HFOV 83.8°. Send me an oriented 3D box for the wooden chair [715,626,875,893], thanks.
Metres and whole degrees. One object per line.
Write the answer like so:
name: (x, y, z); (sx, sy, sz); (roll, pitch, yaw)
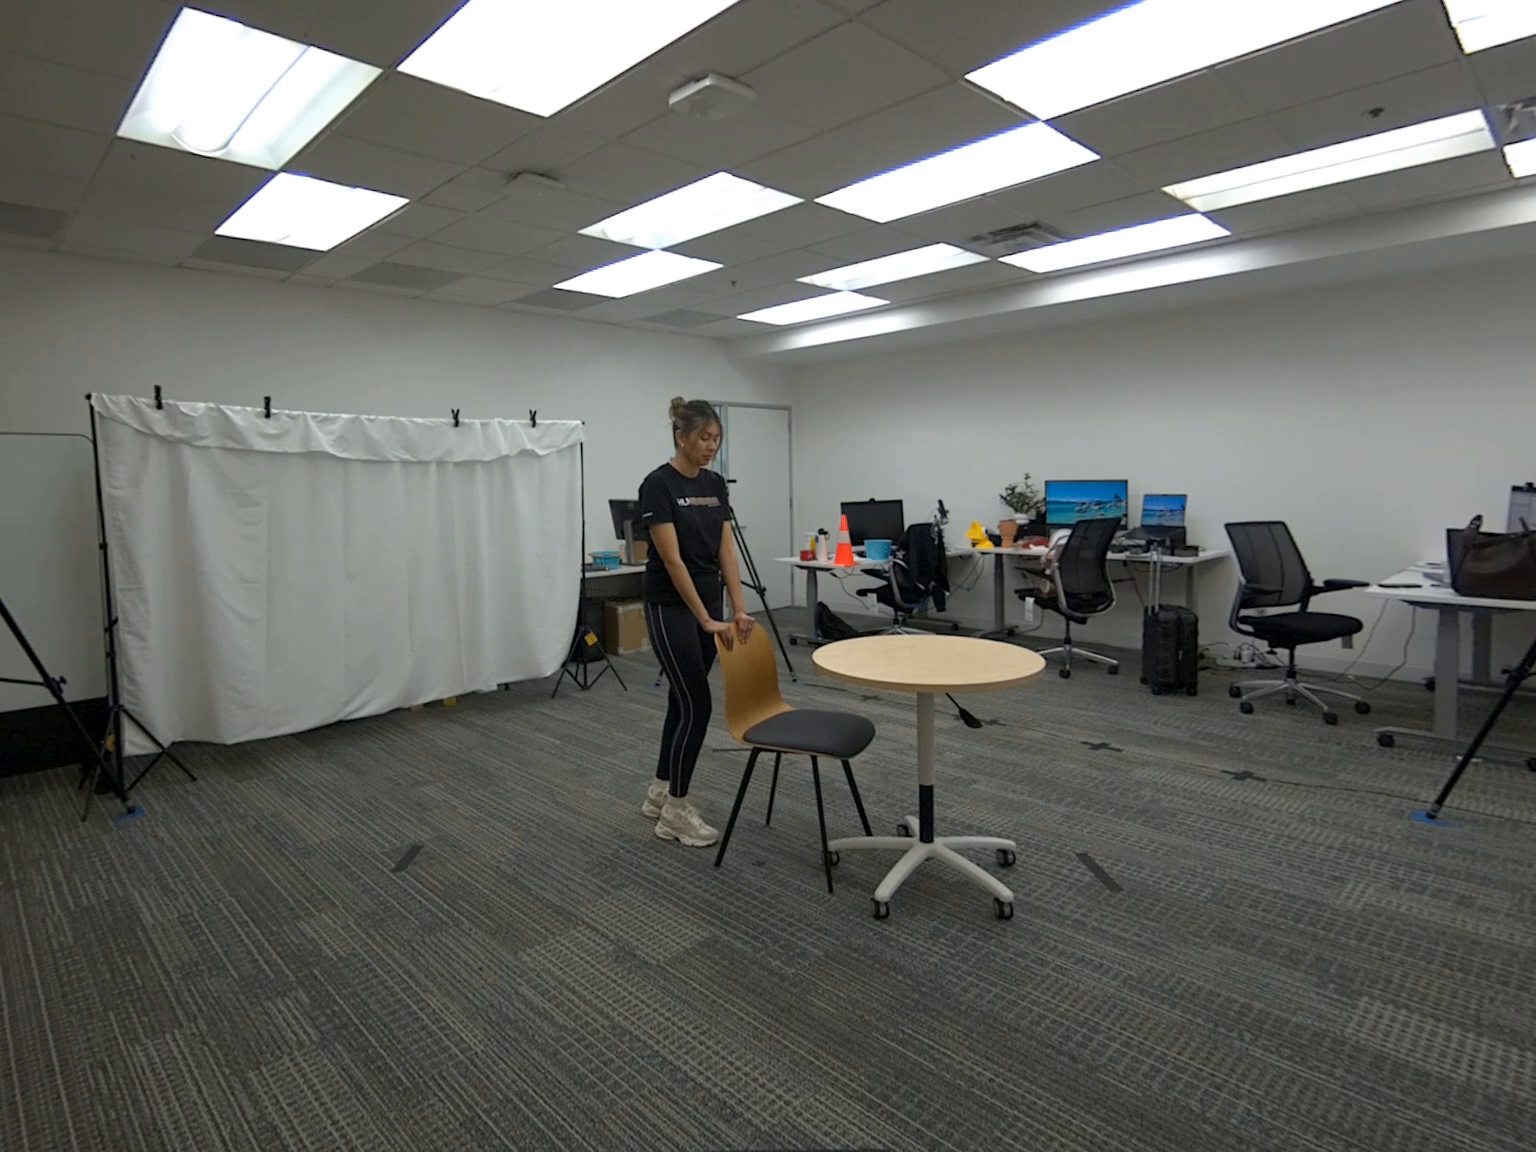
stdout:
wooden chair: (0.106, 0.612, 3.138); (0.535, 0.876, 0.468); (-3, 2, 28)
